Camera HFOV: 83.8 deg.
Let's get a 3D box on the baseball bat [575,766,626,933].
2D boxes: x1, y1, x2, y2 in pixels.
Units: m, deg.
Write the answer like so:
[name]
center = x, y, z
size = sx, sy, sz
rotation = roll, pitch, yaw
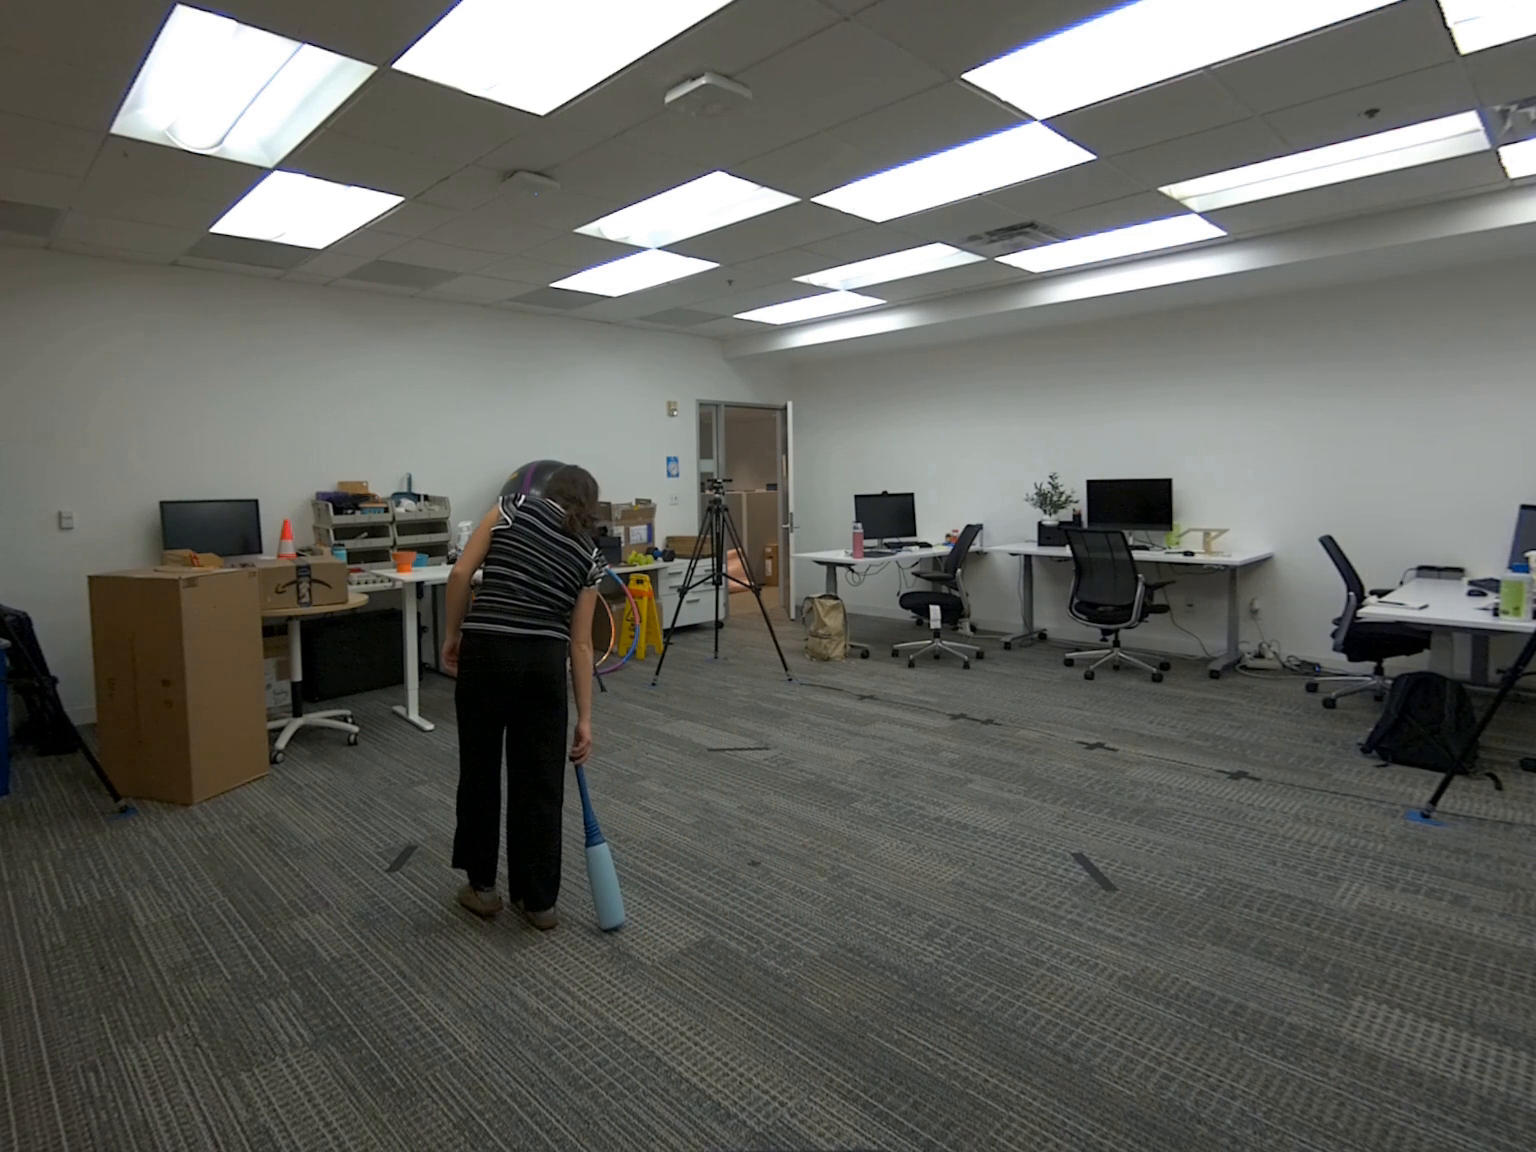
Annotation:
[baseball bat]
center = -0.554, 0.836, 2.724
size = 0.089, 0.550, 0.088
rotation = -15, -12, -4
